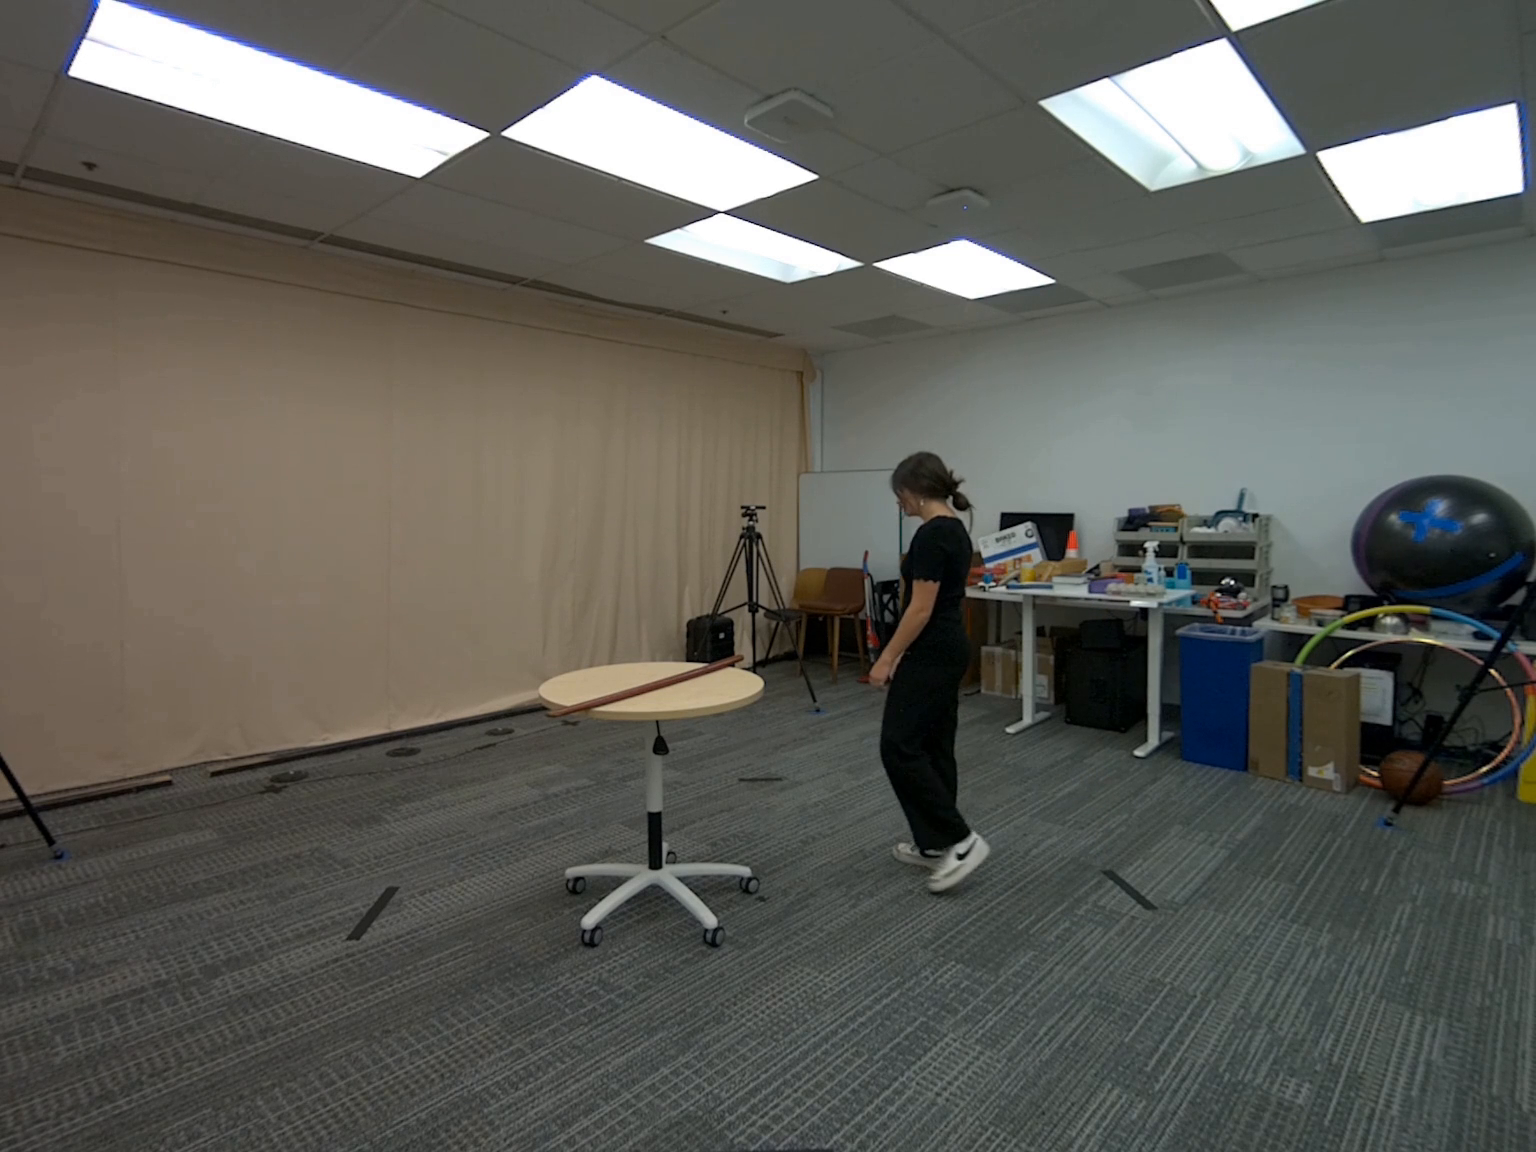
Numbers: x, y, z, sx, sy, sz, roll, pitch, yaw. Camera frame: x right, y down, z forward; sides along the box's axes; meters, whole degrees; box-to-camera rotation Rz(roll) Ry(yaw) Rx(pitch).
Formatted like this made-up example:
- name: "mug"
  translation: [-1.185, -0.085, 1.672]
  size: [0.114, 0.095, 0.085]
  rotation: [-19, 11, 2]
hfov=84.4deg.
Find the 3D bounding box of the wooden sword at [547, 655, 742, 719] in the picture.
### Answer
- name: "wooden sword"
  translation: [-0.339, 0.362, 2.848]
  size: [0.052, 0.024, 0.997]
  rotation: [-10, 0, 33]
